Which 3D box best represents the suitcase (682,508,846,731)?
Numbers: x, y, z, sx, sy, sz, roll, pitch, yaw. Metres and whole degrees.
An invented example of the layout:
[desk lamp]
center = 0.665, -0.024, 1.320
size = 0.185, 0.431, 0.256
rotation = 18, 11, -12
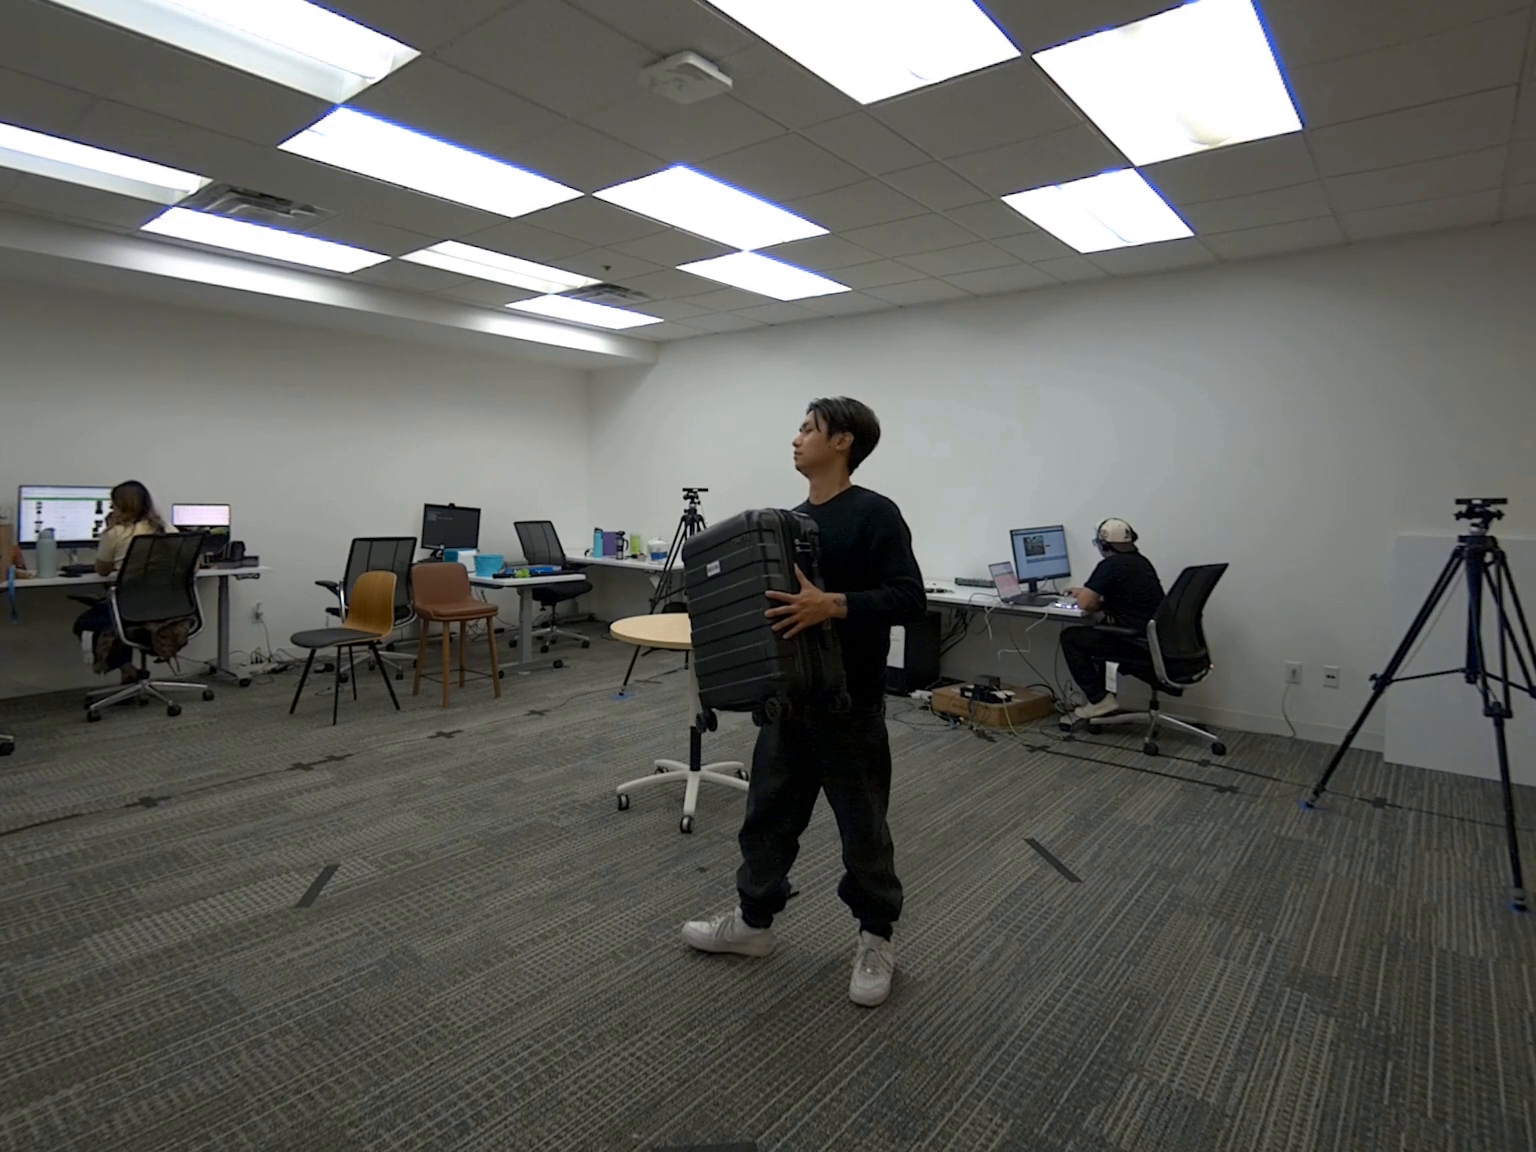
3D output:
[suitcase]
center = -0.036, 0.104, 2.276
size = 0.240, 0.557, 0.382
rotation = 3, -17, -41
